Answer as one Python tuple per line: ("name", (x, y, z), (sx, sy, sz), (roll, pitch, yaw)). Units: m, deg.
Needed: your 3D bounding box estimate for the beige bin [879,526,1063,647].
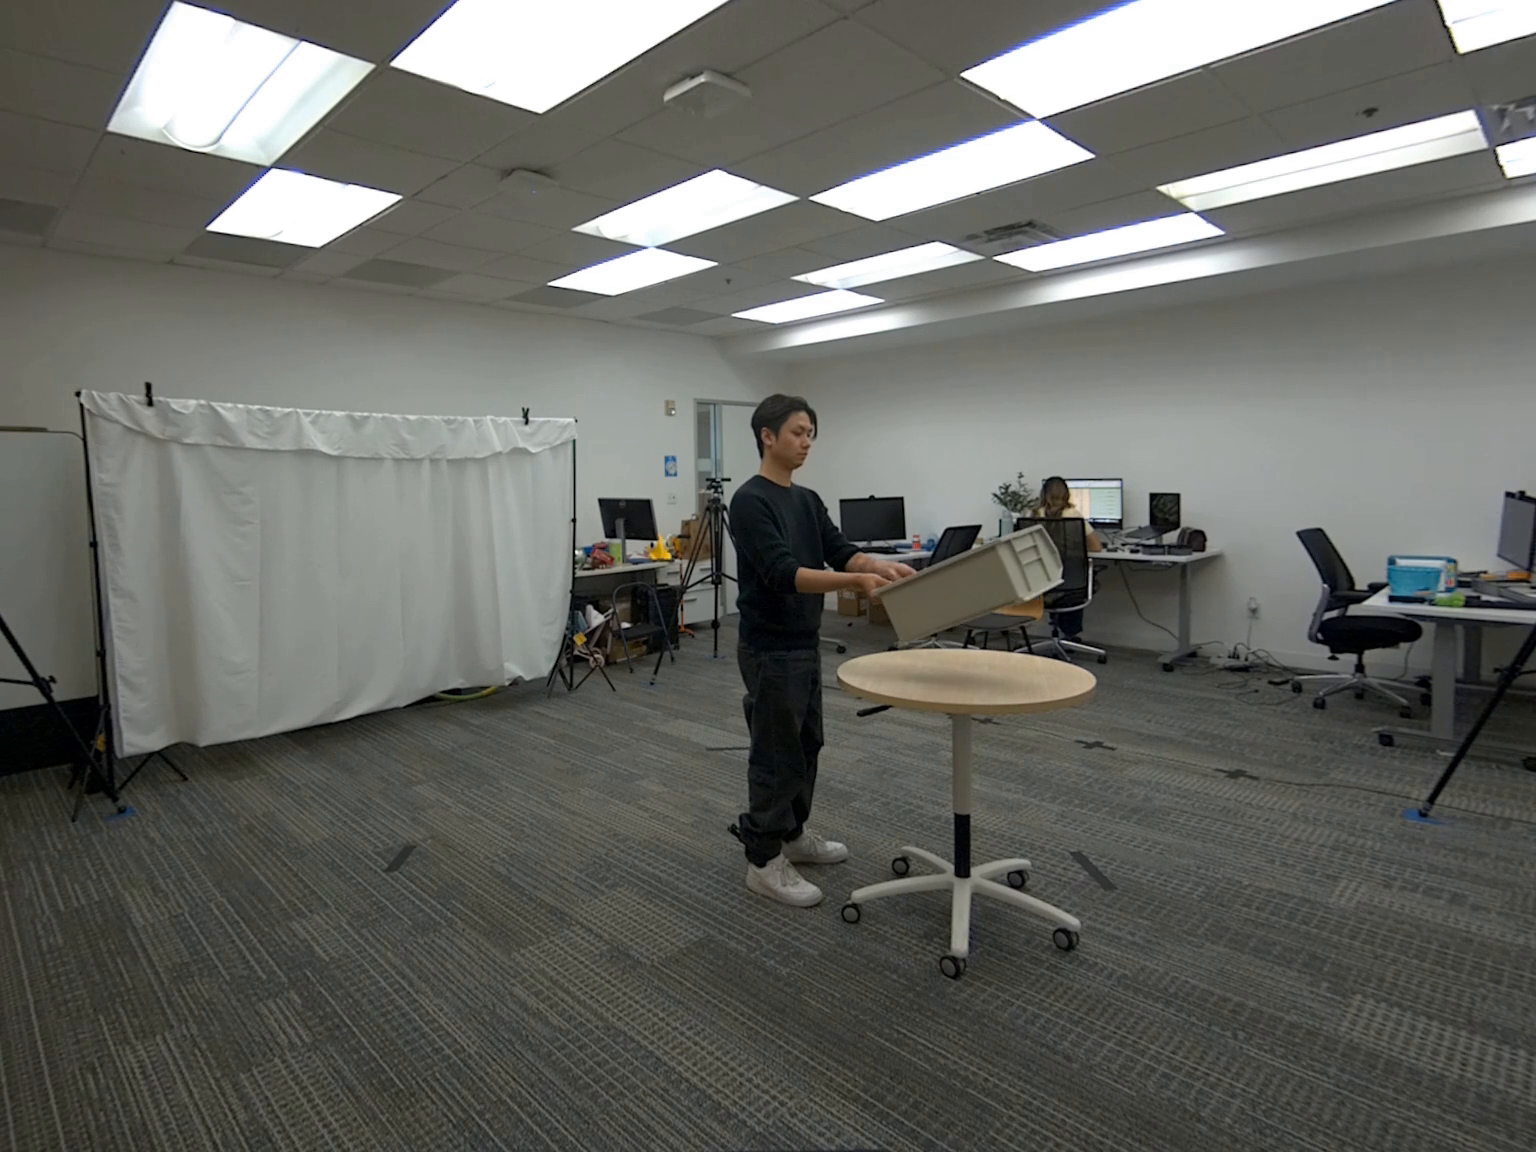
("beige bin", (0.597, 0.035, 2.500), (0.428, 0.190, 0.369), (-25, -5, 37))
